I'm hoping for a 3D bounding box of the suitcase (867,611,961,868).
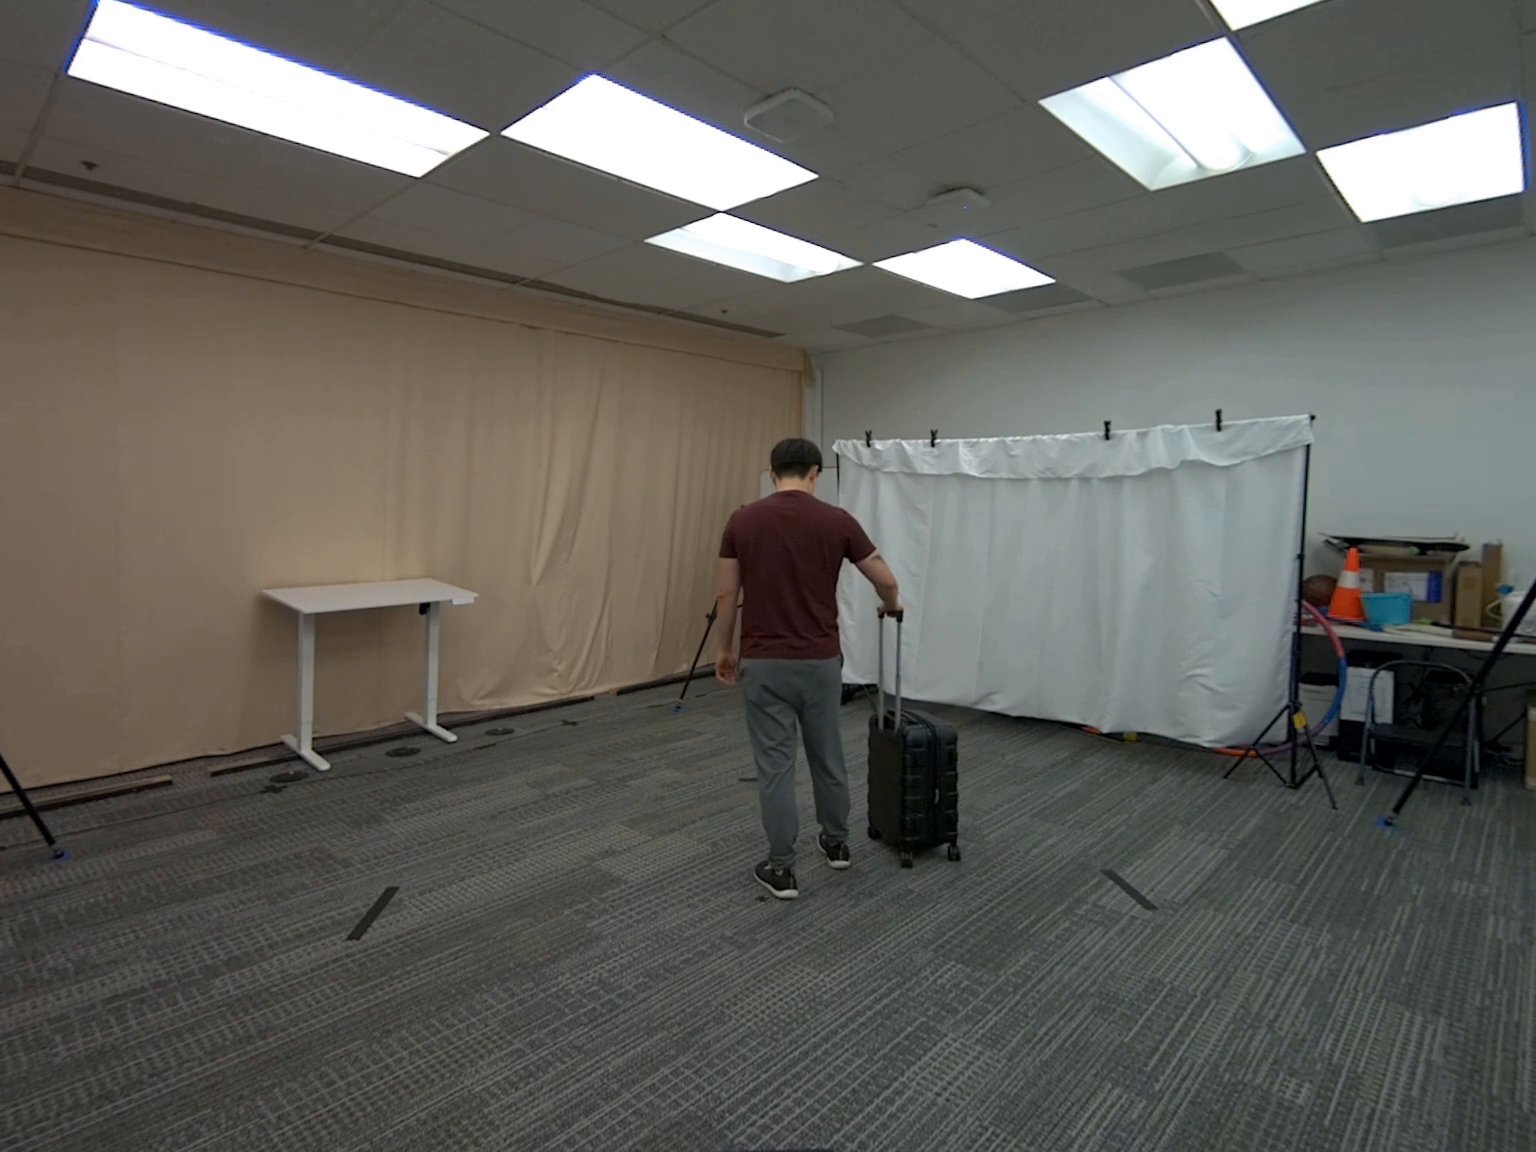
[{"bbox_3d":[0.590,0.628,3.421,0.254,0.977,0.389,0,2,-13],"label":"suitcase"}]
